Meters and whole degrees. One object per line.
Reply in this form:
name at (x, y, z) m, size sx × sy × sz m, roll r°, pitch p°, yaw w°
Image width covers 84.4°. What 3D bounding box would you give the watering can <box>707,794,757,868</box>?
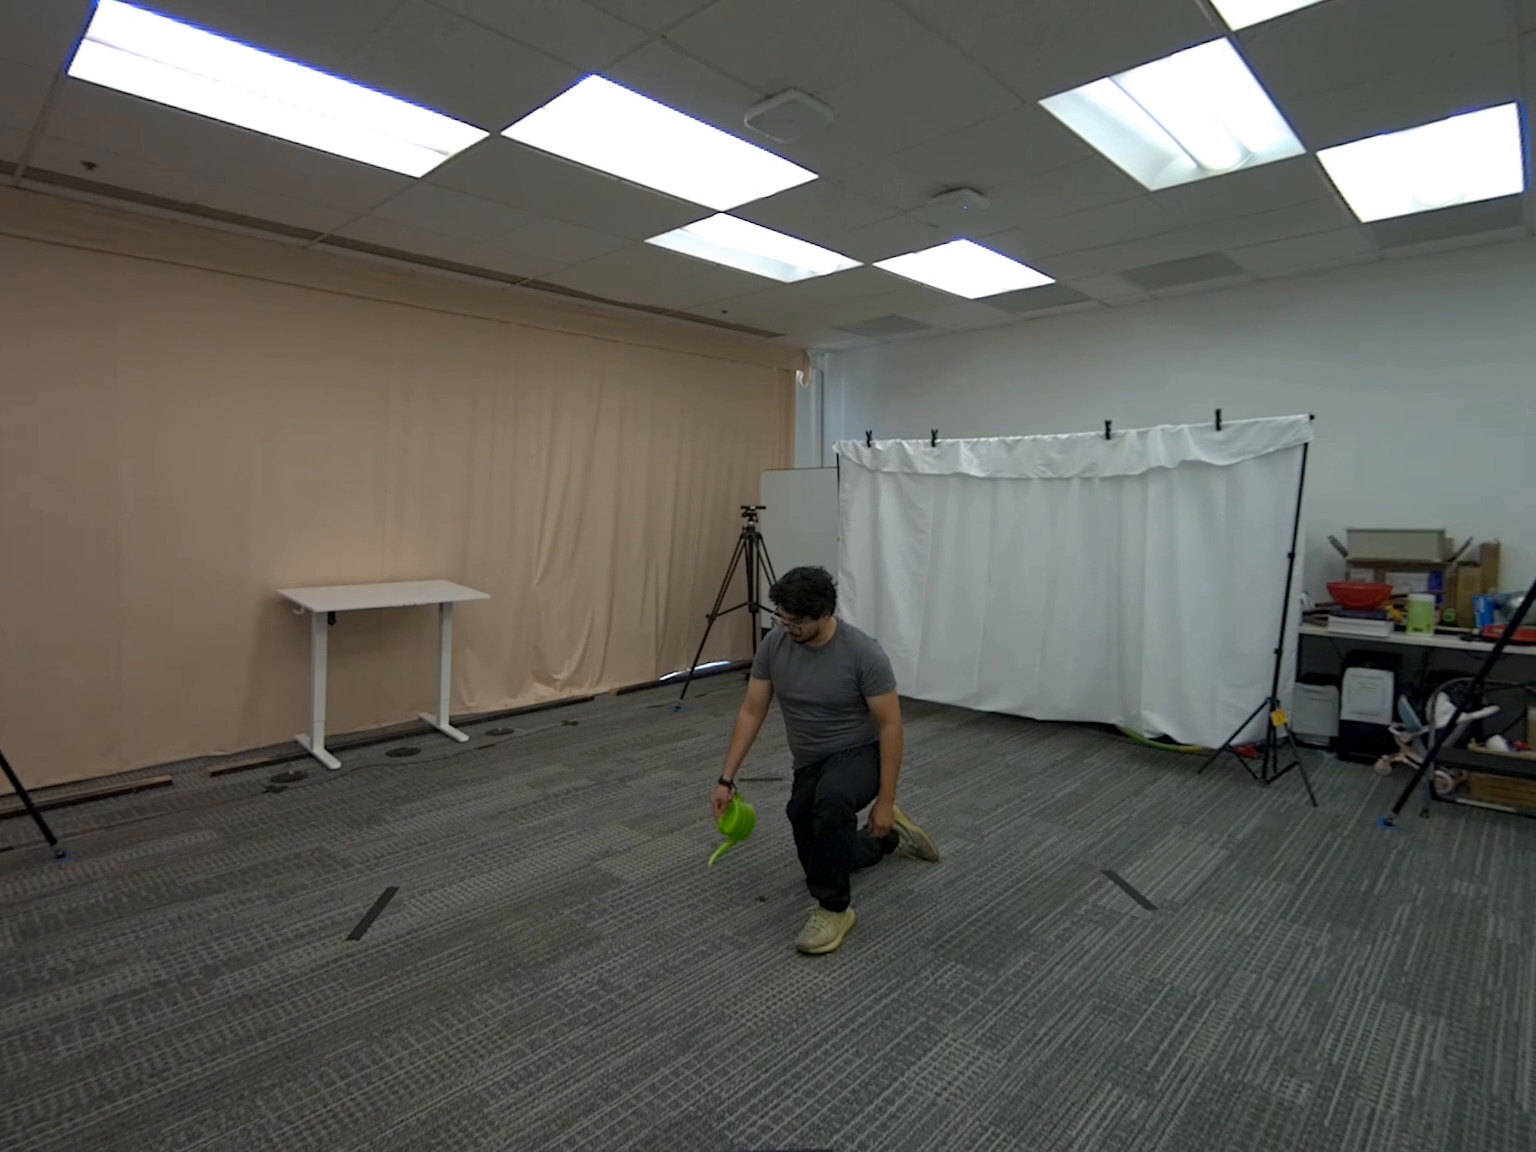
watering can at (-0.140, 0.928, 3.073) m, size 0.101 × 0.278 × 0.170 m, roll 17°, pitch -14°, yaw 37°
